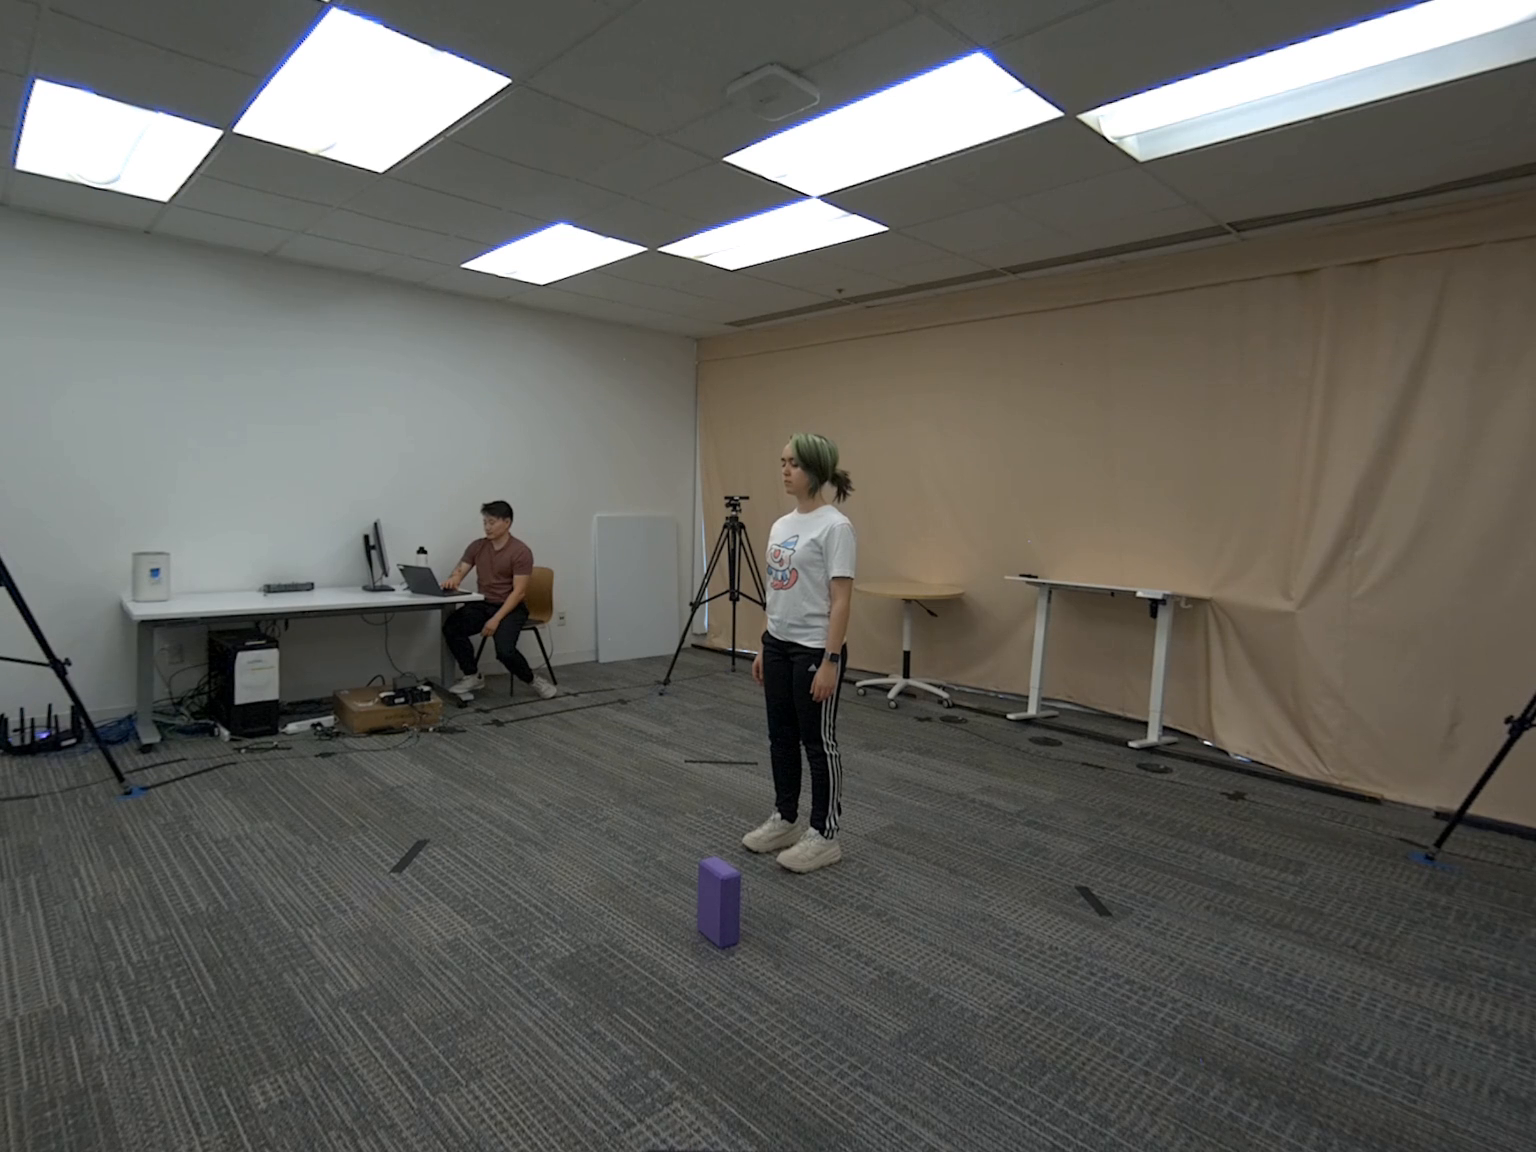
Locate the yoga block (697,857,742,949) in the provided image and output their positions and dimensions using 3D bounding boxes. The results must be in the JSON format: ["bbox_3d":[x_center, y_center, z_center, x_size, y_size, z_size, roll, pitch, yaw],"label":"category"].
[{"bbox_3d":[-0.159,1.027,2.654,0.075,0.229,0.153,0,4,-36],"label":"yoga block"}]
